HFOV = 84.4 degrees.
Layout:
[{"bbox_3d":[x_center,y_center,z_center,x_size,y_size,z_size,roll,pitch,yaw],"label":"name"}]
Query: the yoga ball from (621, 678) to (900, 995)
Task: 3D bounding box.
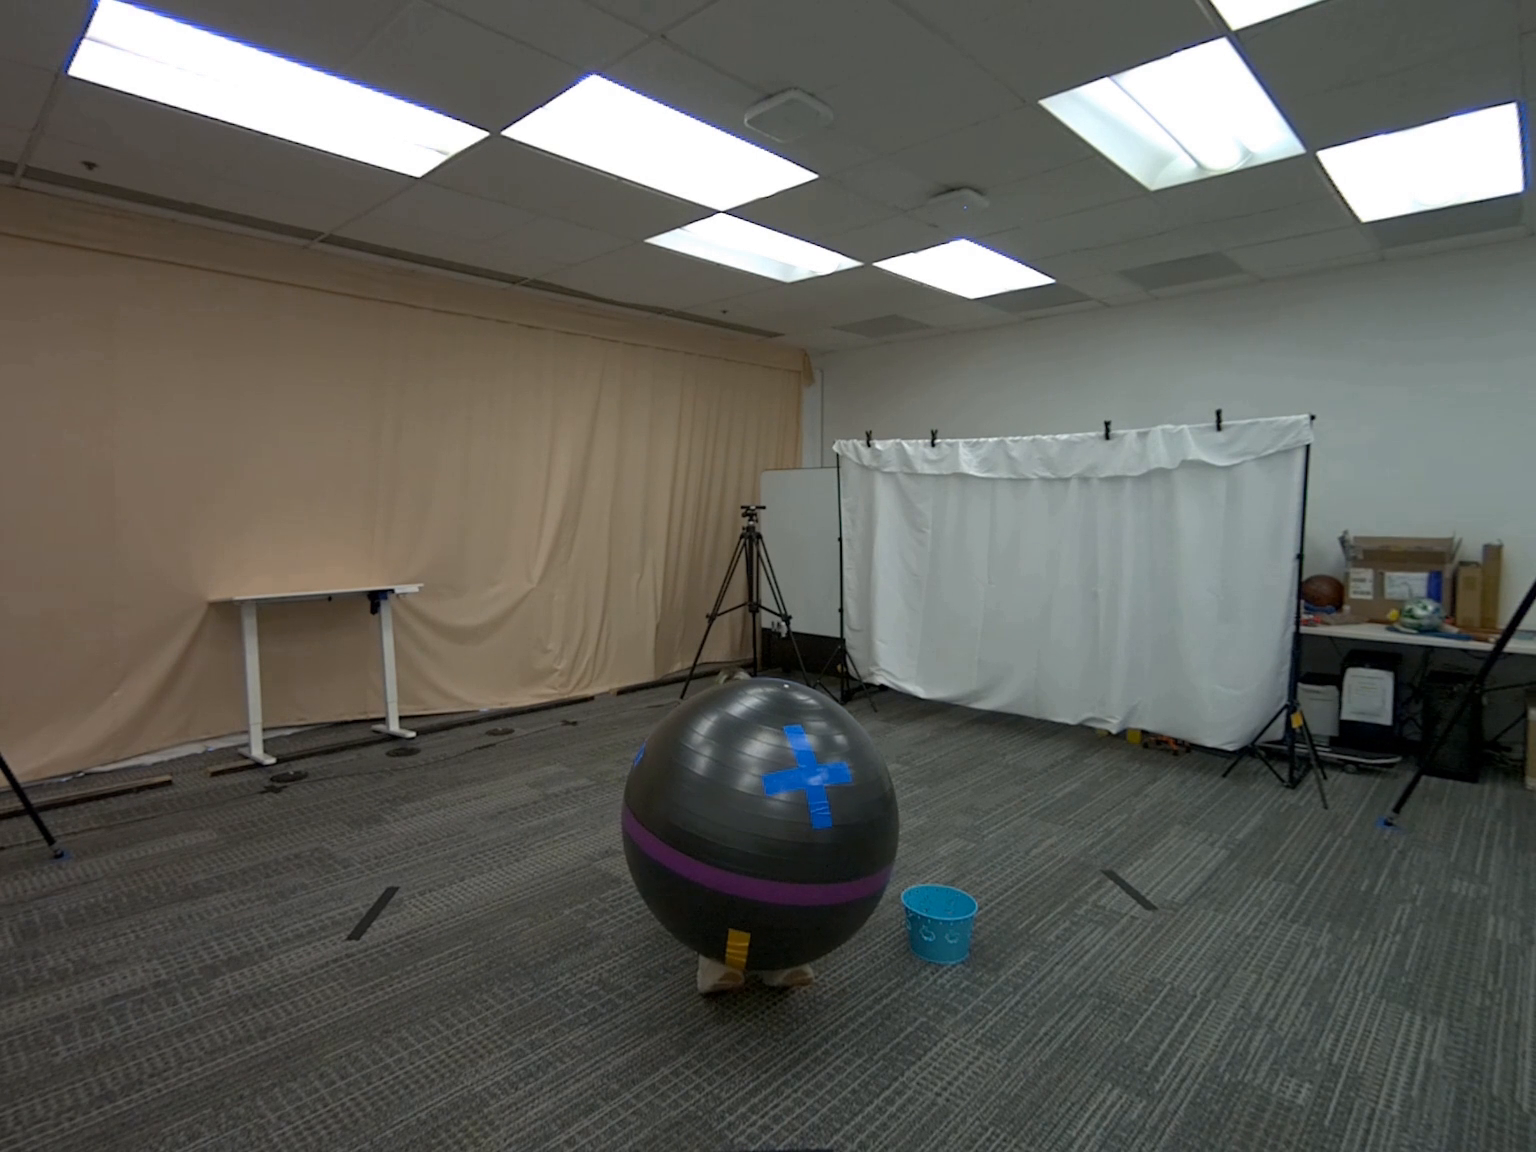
[{"bbox_3d":[-0.015,0.668,2.310,0.757,0.756,0.761,0,4,-2],"label":"yoga ball"}]
